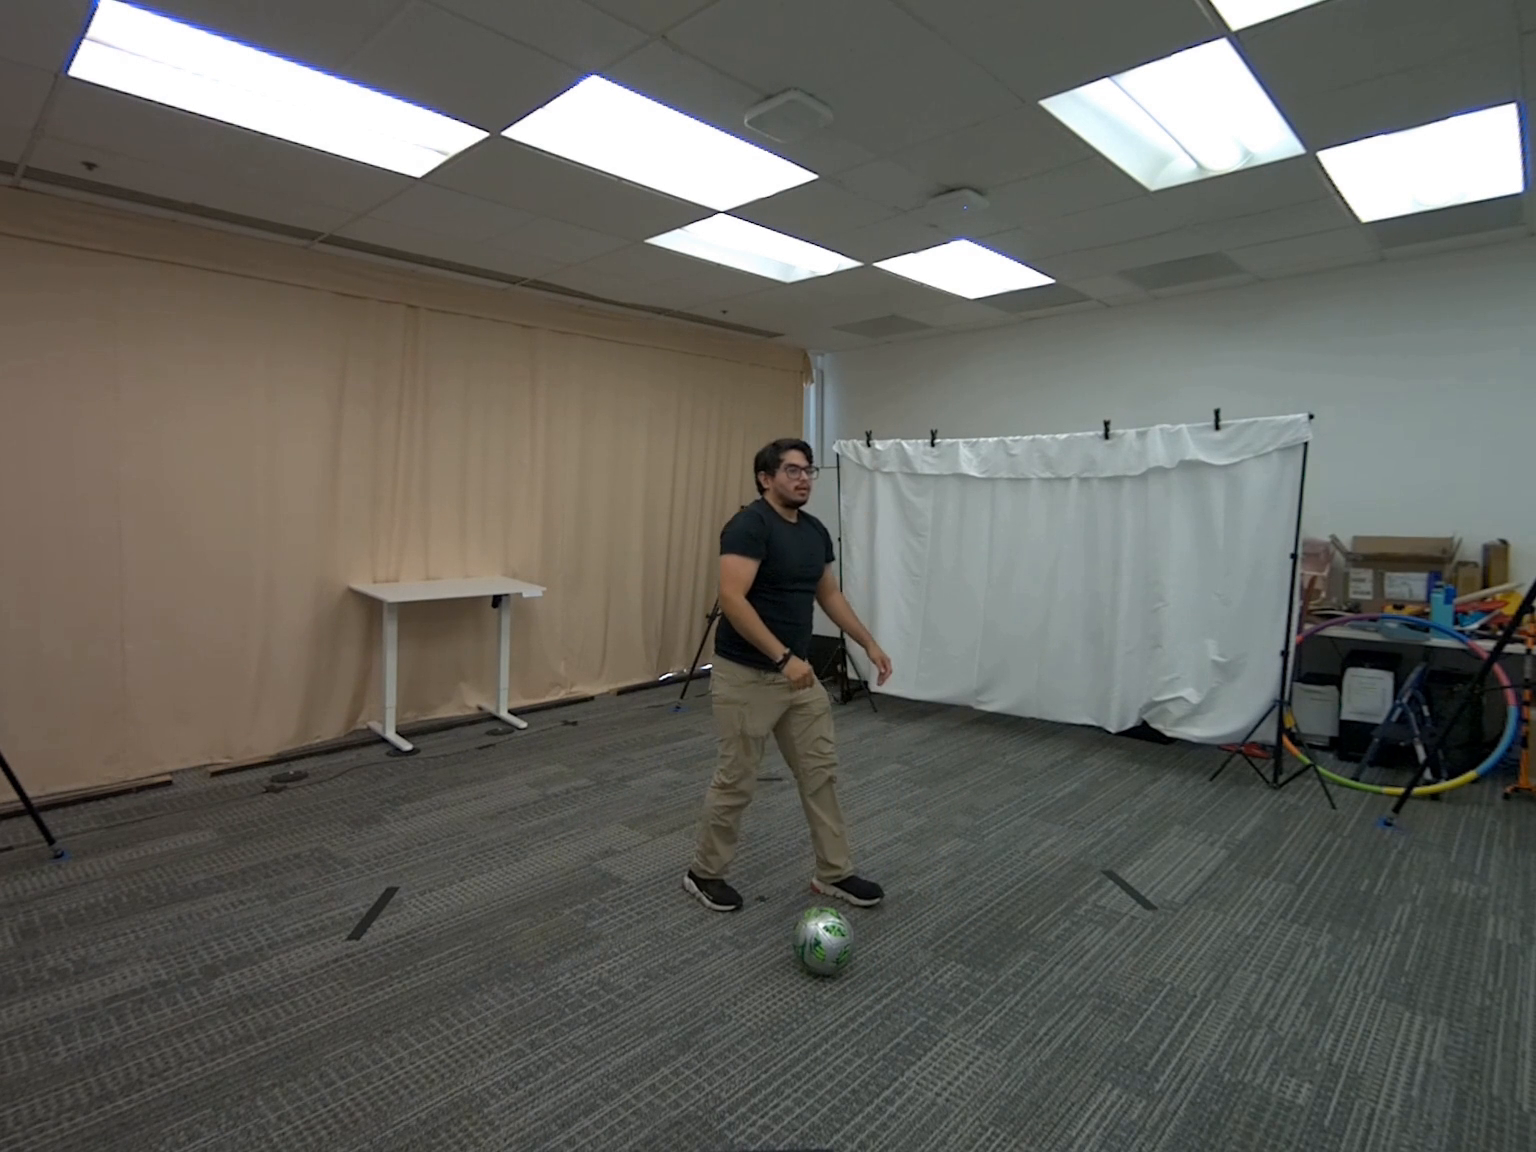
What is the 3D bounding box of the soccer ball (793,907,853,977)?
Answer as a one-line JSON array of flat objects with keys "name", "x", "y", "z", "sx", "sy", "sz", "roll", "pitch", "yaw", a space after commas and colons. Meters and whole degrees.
[{"name": "soccer ball", "x": 0.170, "y": 1.091, "z": 2.517, "sx": 0.187, "sy": 0.187, "sz": 0.188, "roll": 0, "pitch": 4, "yaw": -2}]
